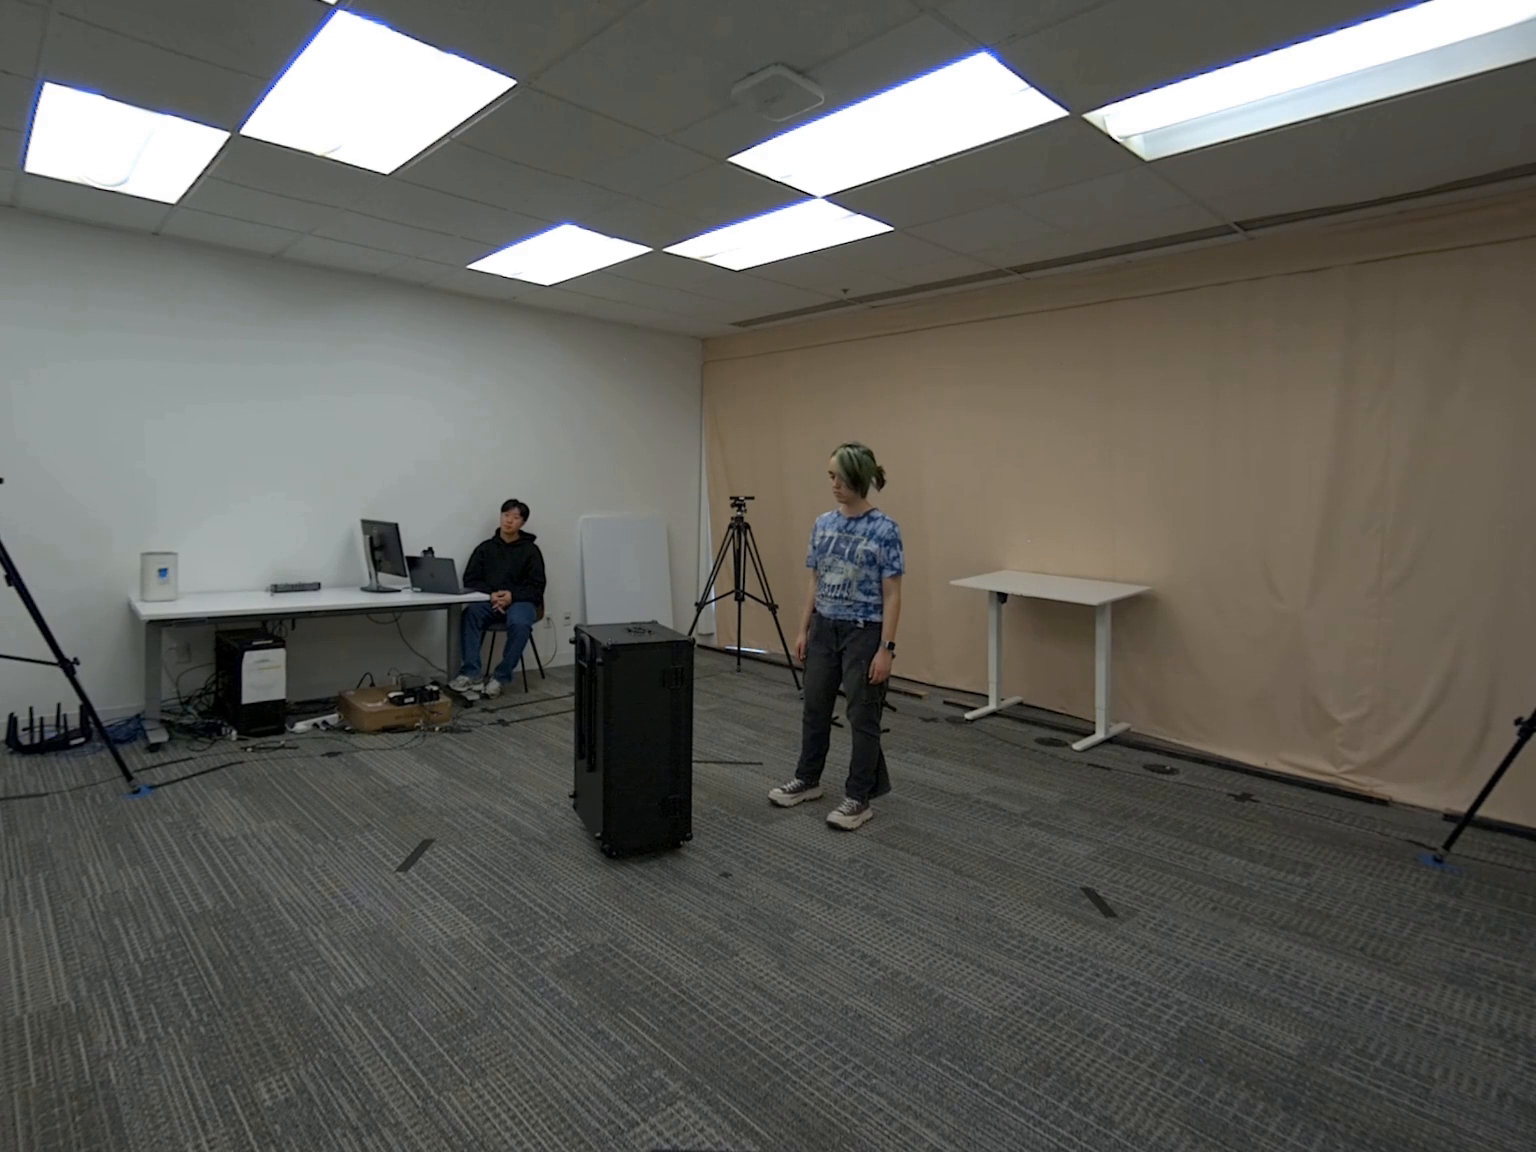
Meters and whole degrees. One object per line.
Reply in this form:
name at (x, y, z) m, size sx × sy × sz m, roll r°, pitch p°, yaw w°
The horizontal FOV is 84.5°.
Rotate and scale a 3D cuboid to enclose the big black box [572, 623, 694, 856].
big black box at (-0.562, 0.647, 3.361) m, size 0.389 × 0.859 × 0.532 m, roll -2°, pitch 4°, yaw -25°
